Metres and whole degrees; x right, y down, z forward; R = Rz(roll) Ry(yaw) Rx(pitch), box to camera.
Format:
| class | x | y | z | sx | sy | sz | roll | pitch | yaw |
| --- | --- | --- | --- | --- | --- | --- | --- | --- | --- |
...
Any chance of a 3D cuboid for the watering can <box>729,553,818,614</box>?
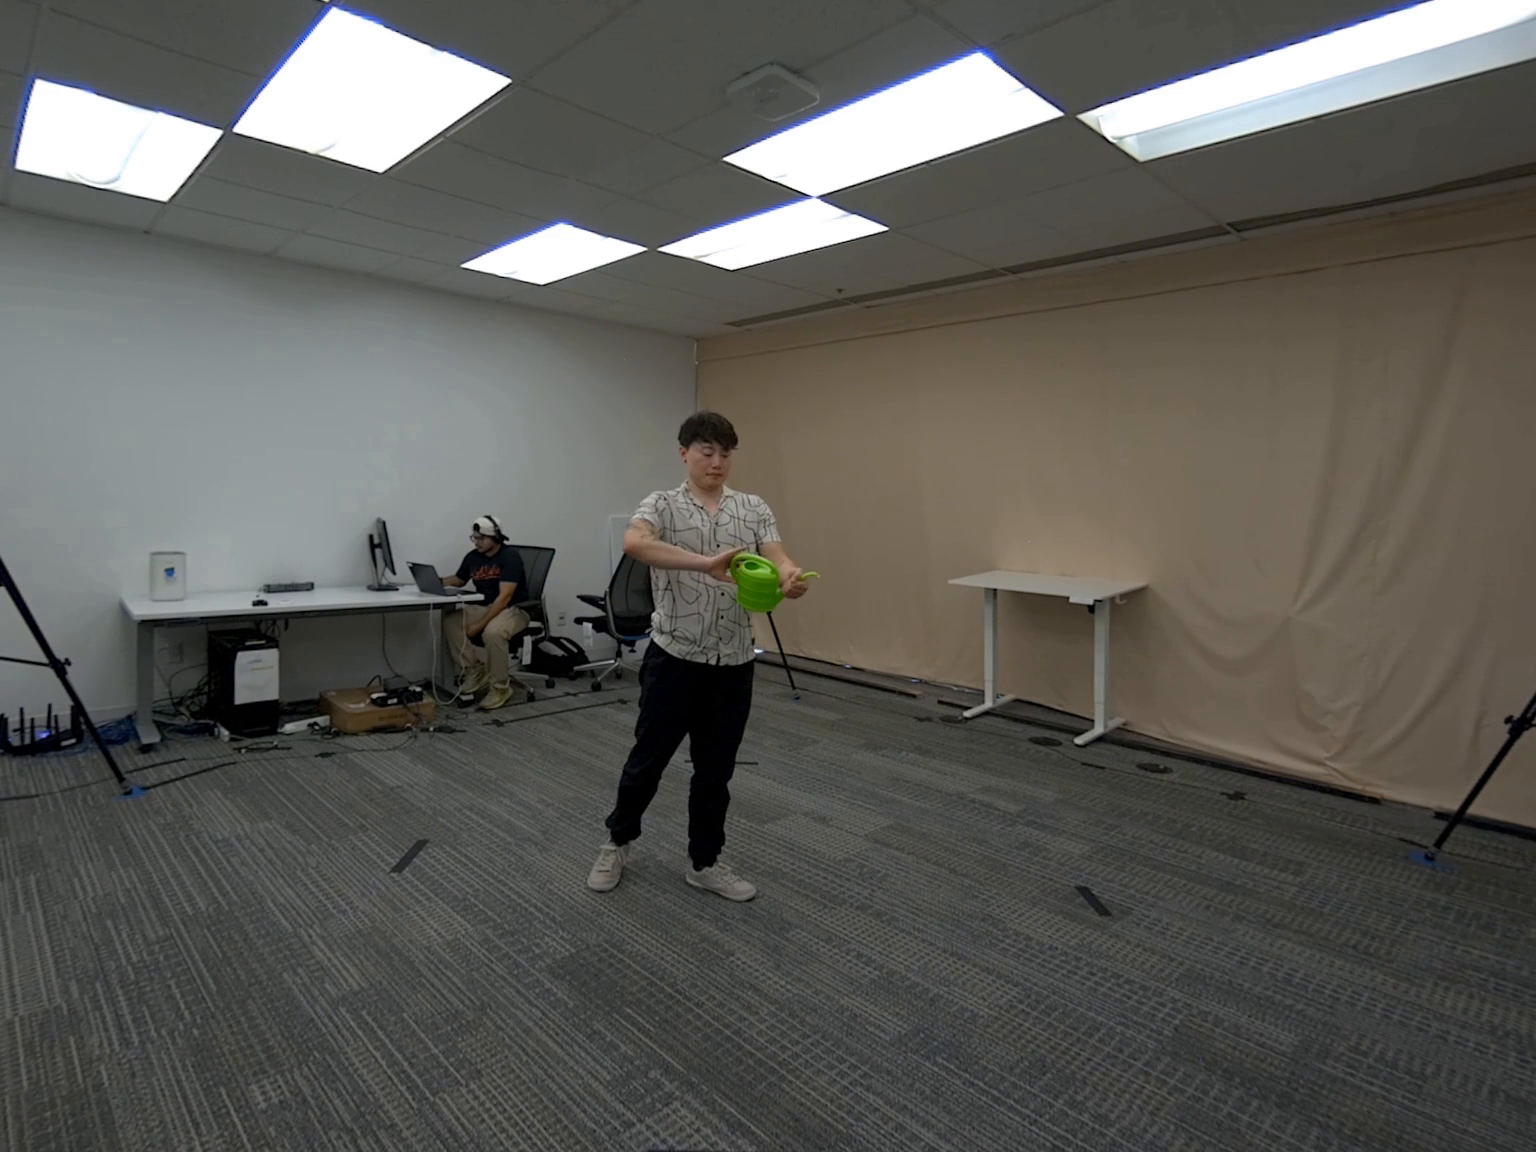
| class | x | y | z | sx | sy | sz | roll | pitch | yaw |
| --- | --- | --- | --- | --- | --- | --- | --- | --- | --- |
| watering can | 0.001 | 0.038 | 2.588 | 0.285 | 0.173 | 0.097 | 27 | 42 | 27 |
